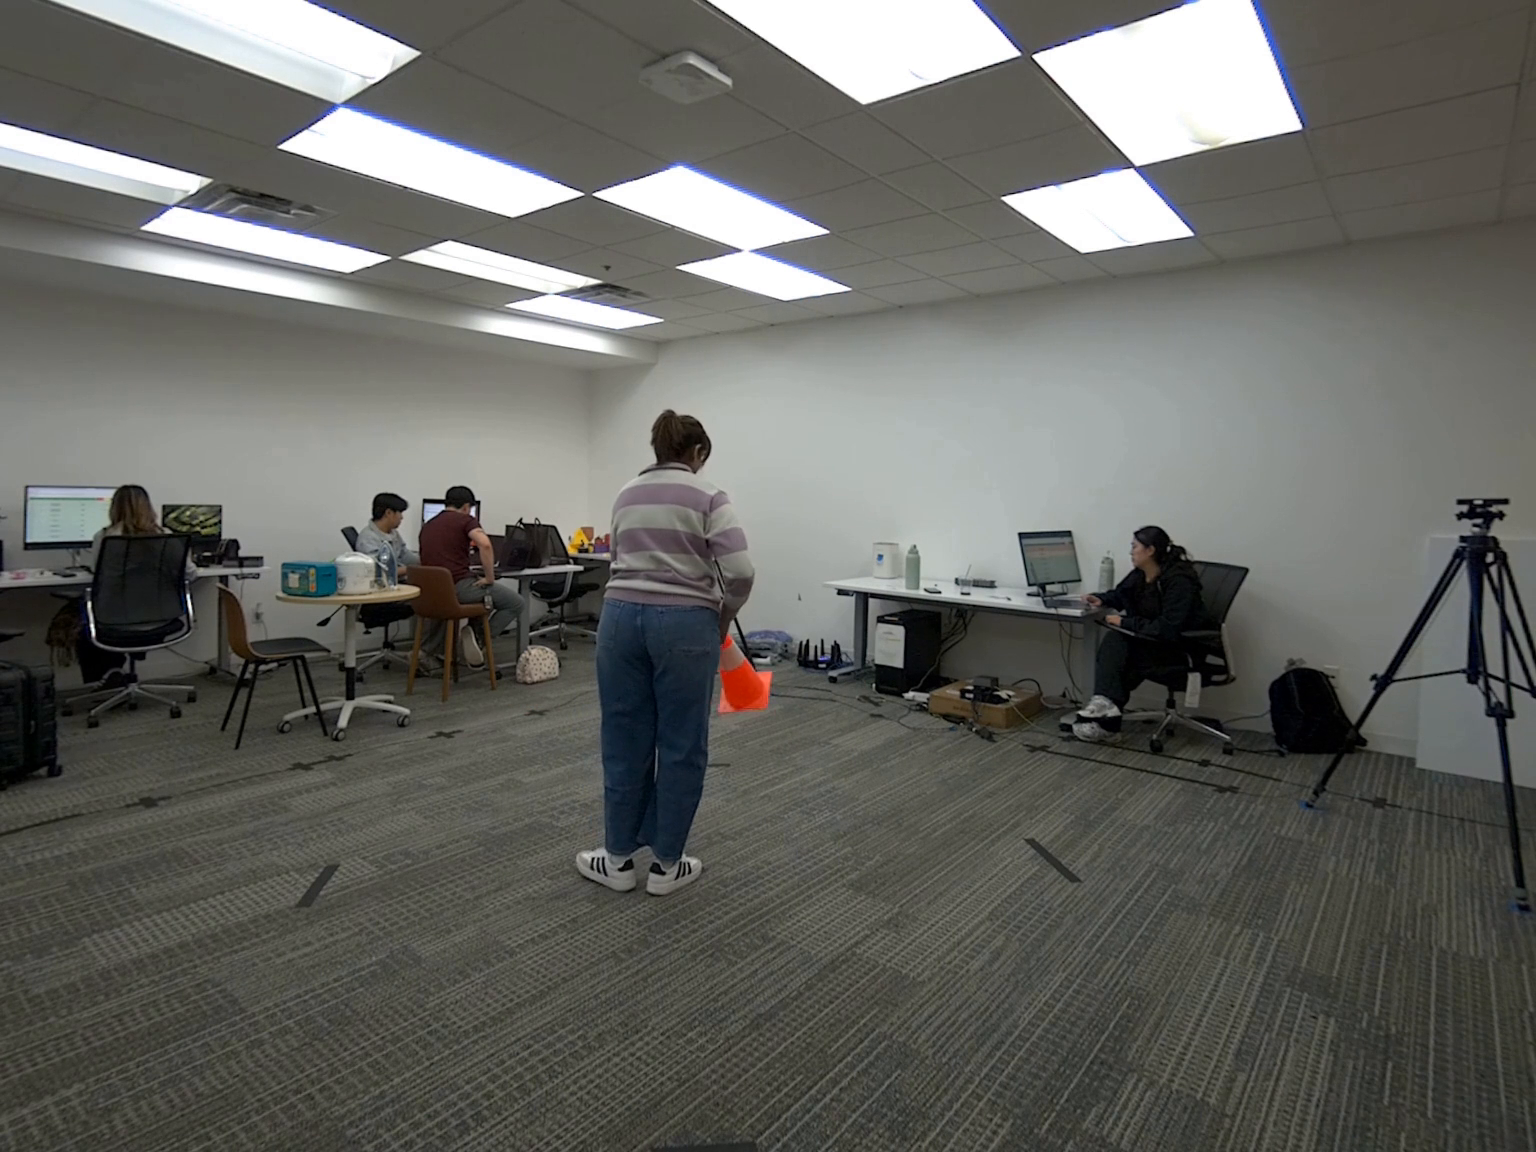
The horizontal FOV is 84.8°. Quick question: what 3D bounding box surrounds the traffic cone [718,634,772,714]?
[{"bbox_3d":[-0.170,0.300,3.174,0.208,0.371,0.207,-12,31,18],"label":"traffic cone"}]
